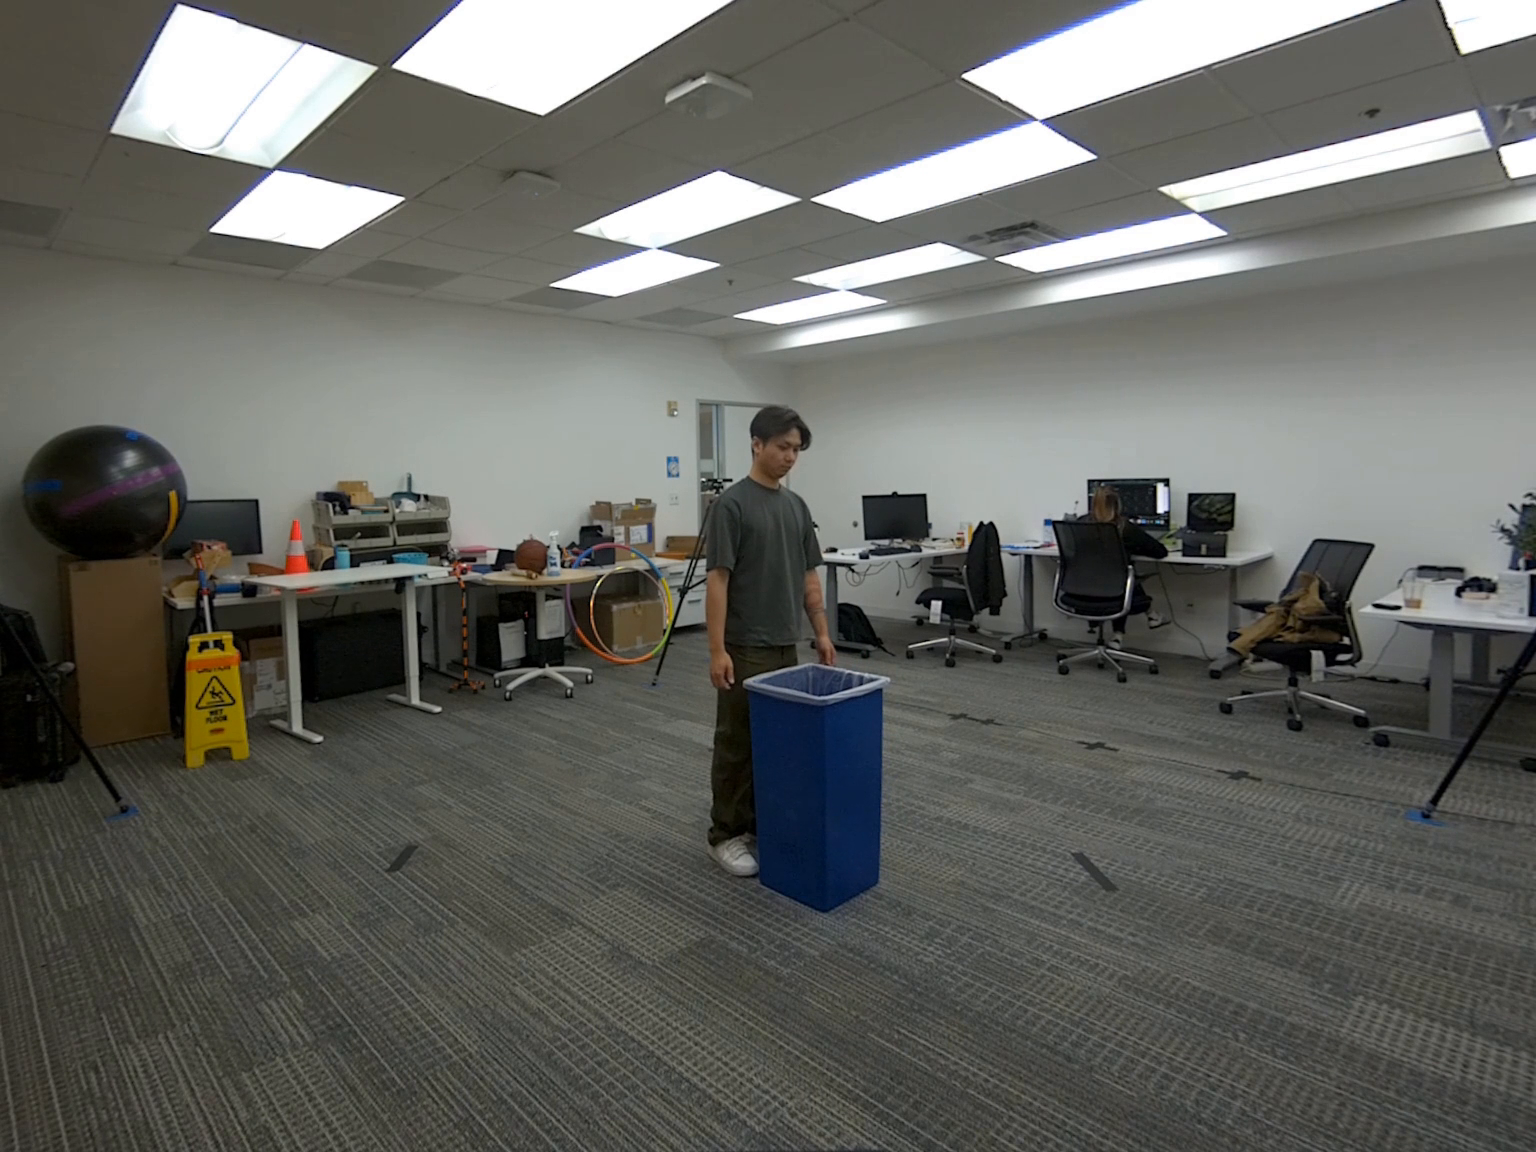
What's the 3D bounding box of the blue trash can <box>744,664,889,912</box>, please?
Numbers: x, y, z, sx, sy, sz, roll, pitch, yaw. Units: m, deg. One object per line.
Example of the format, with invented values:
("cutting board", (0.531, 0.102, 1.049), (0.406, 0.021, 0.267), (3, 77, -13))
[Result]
("blue trash can", (0.182, 0.703, 2.922), (0.385, 0.711, 0.368), (3, 6, 44))
